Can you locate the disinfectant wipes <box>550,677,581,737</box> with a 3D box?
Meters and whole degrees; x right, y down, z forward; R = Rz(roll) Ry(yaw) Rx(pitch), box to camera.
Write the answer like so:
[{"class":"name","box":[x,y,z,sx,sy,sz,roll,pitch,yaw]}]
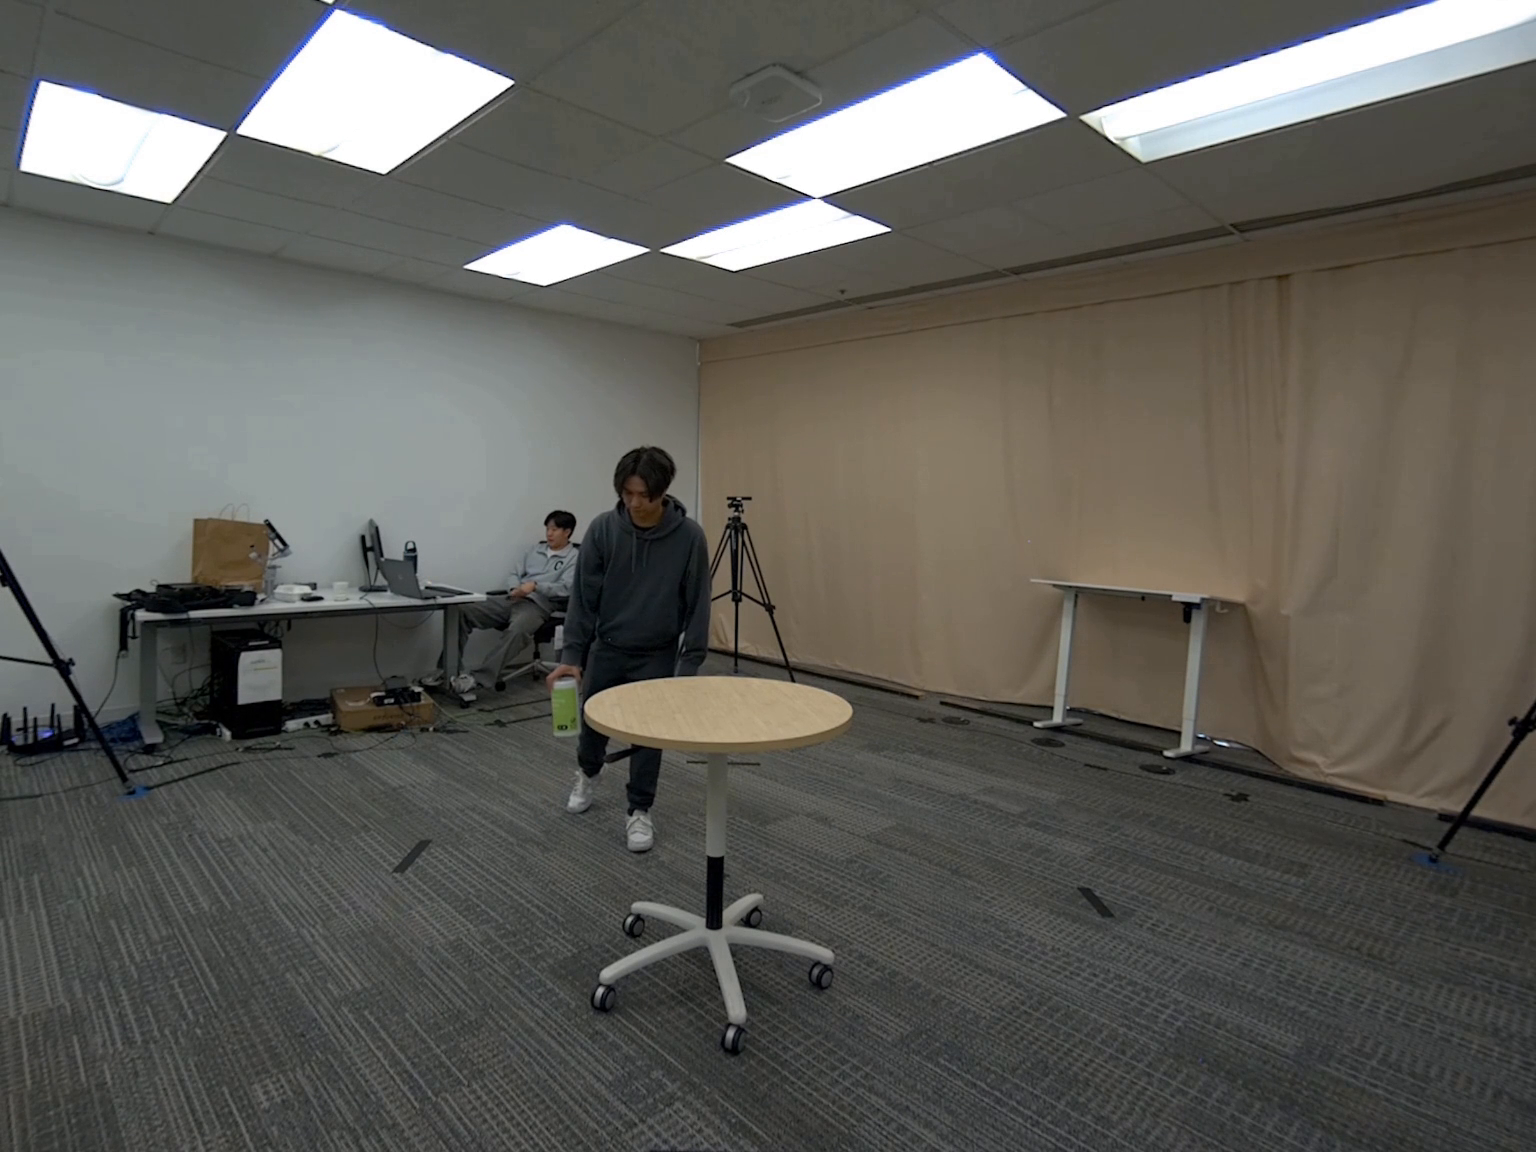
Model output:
[{"class":"disinfectant wipes","box":[-0.807,0.514,3.291,0.118,0.216,0.118,-2,5,-1]}]
